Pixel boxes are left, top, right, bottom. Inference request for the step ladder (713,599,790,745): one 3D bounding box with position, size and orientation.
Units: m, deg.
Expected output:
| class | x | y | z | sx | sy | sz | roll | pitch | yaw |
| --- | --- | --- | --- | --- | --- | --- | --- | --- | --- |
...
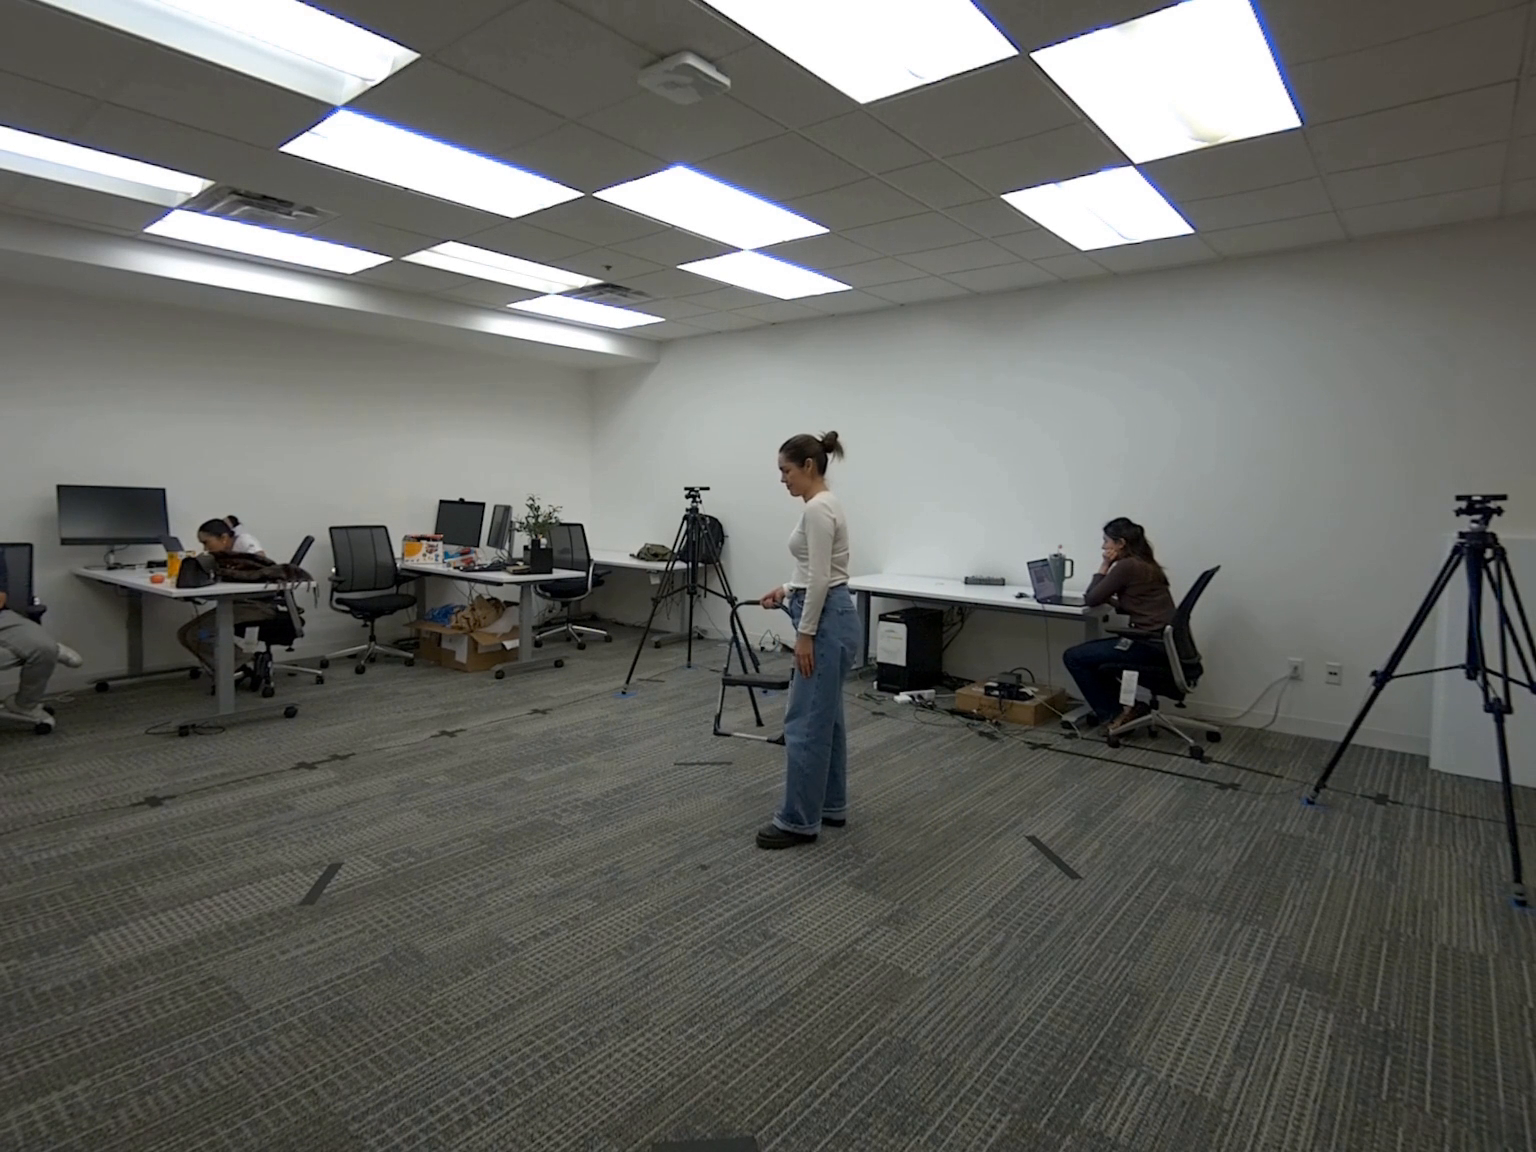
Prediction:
| class | x | y | z | sx | sy | sz | roll | pitch | yaw |
| --- | --- | --- | --- | --- | --- | --- | --- | --- | --- |
| step ladder | -0.006 | 0.411 | 3.845 | 0.443 | 0.608 | 0.338 | -4 | -4 | 41 |
